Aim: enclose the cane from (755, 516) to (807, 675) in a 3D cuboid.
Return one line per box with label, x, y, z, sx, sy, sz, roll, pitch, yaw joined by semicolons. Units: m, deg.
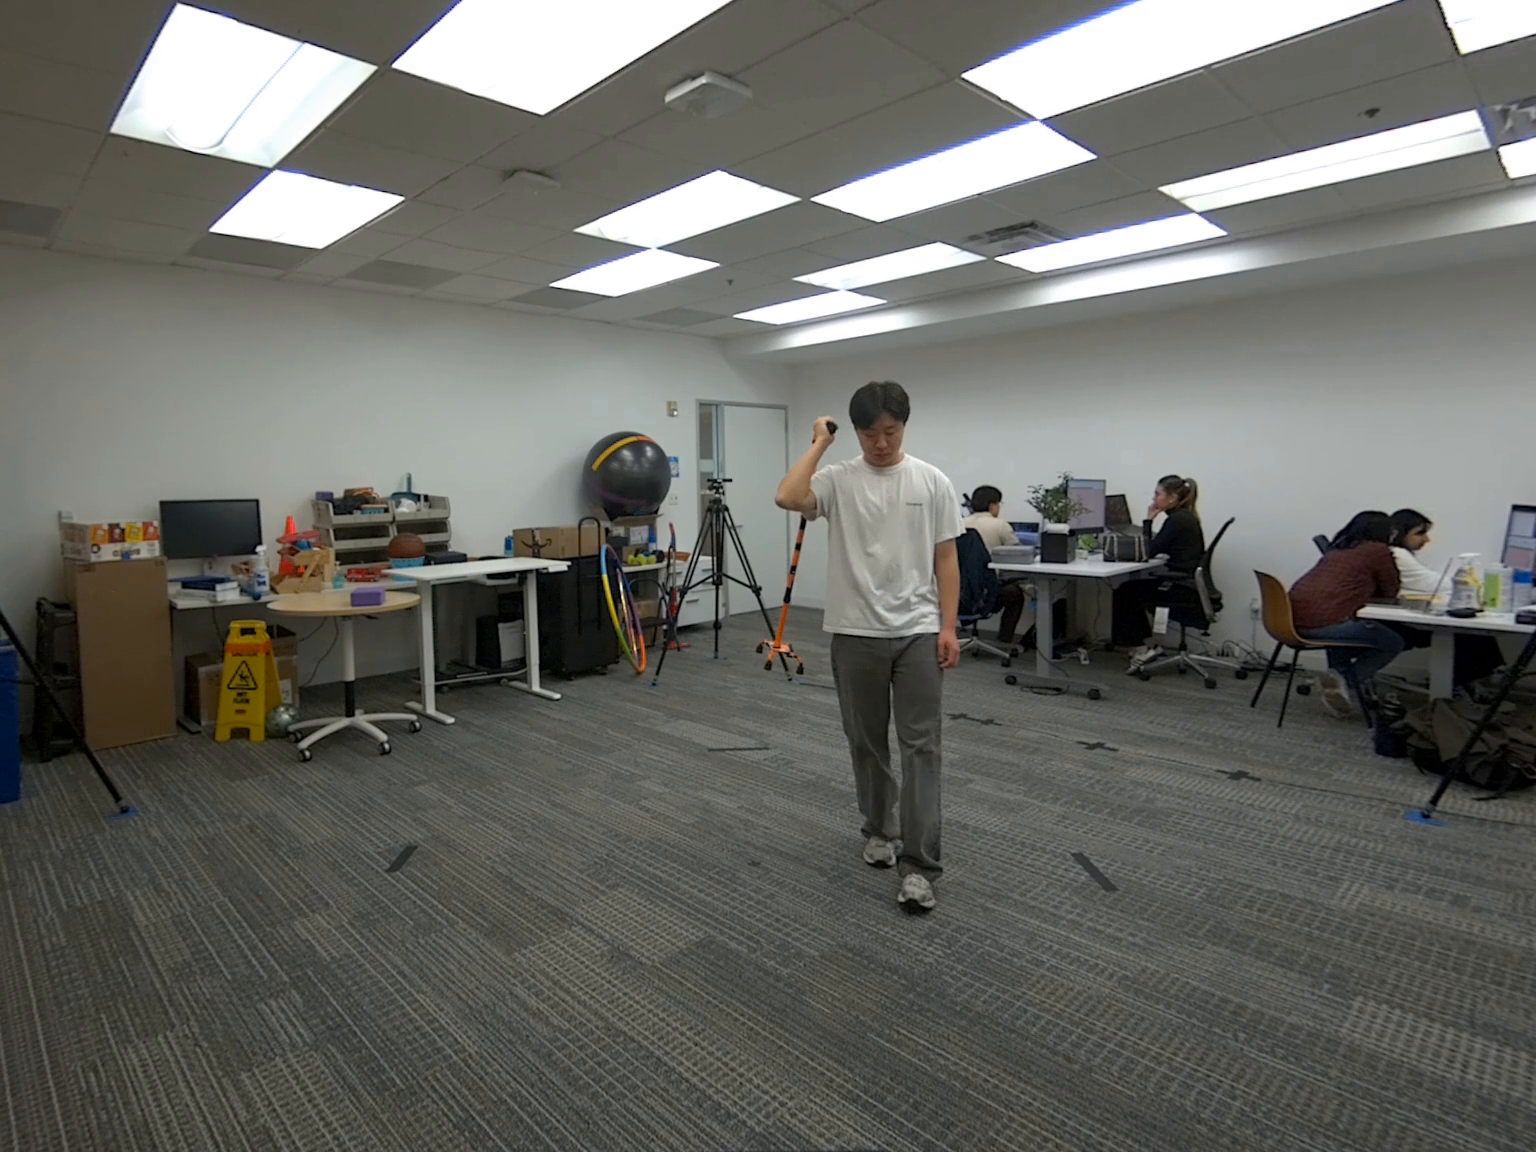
cane;0.135;-0.110;3.127;0.149;0.900;0.212;5;12;-19
